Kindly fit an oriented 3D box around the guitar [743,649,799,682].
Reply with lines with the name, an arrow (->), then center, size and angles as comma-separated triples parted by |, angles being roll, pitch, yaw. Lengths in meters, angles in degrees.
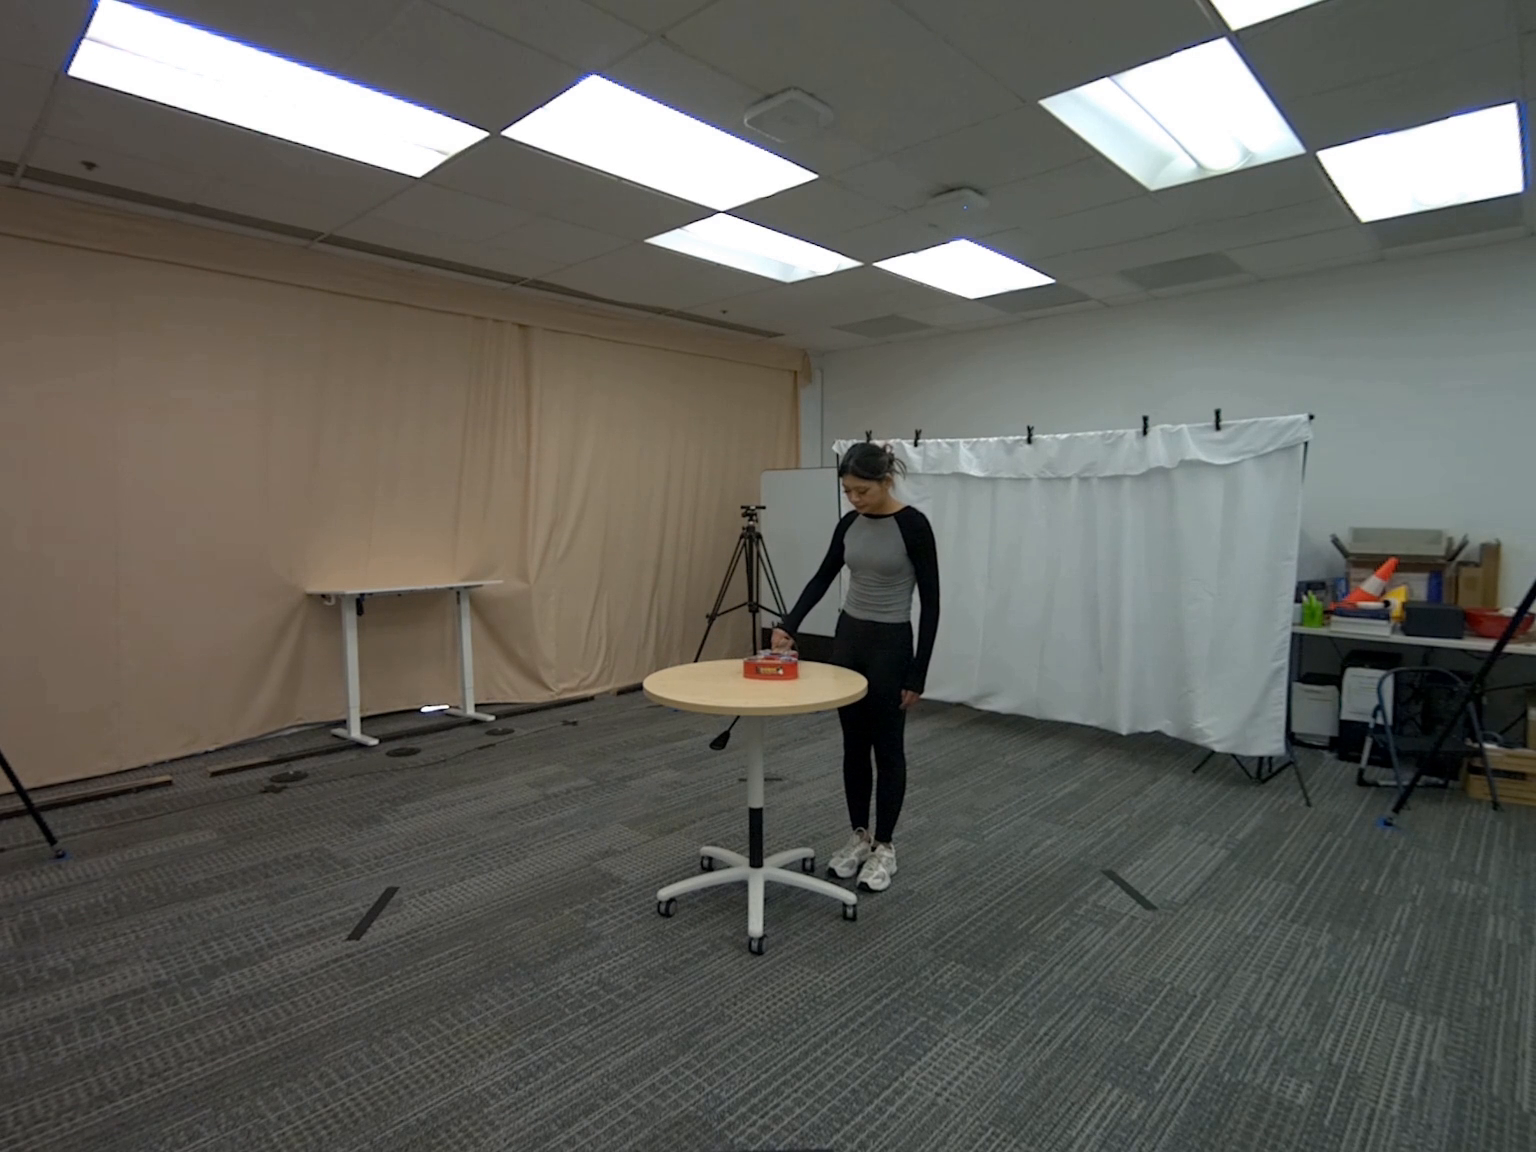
guitar -> 0.068, 0.306, 3.115 | 0.197, 0.070, 0.489 | -1, 5, 18
